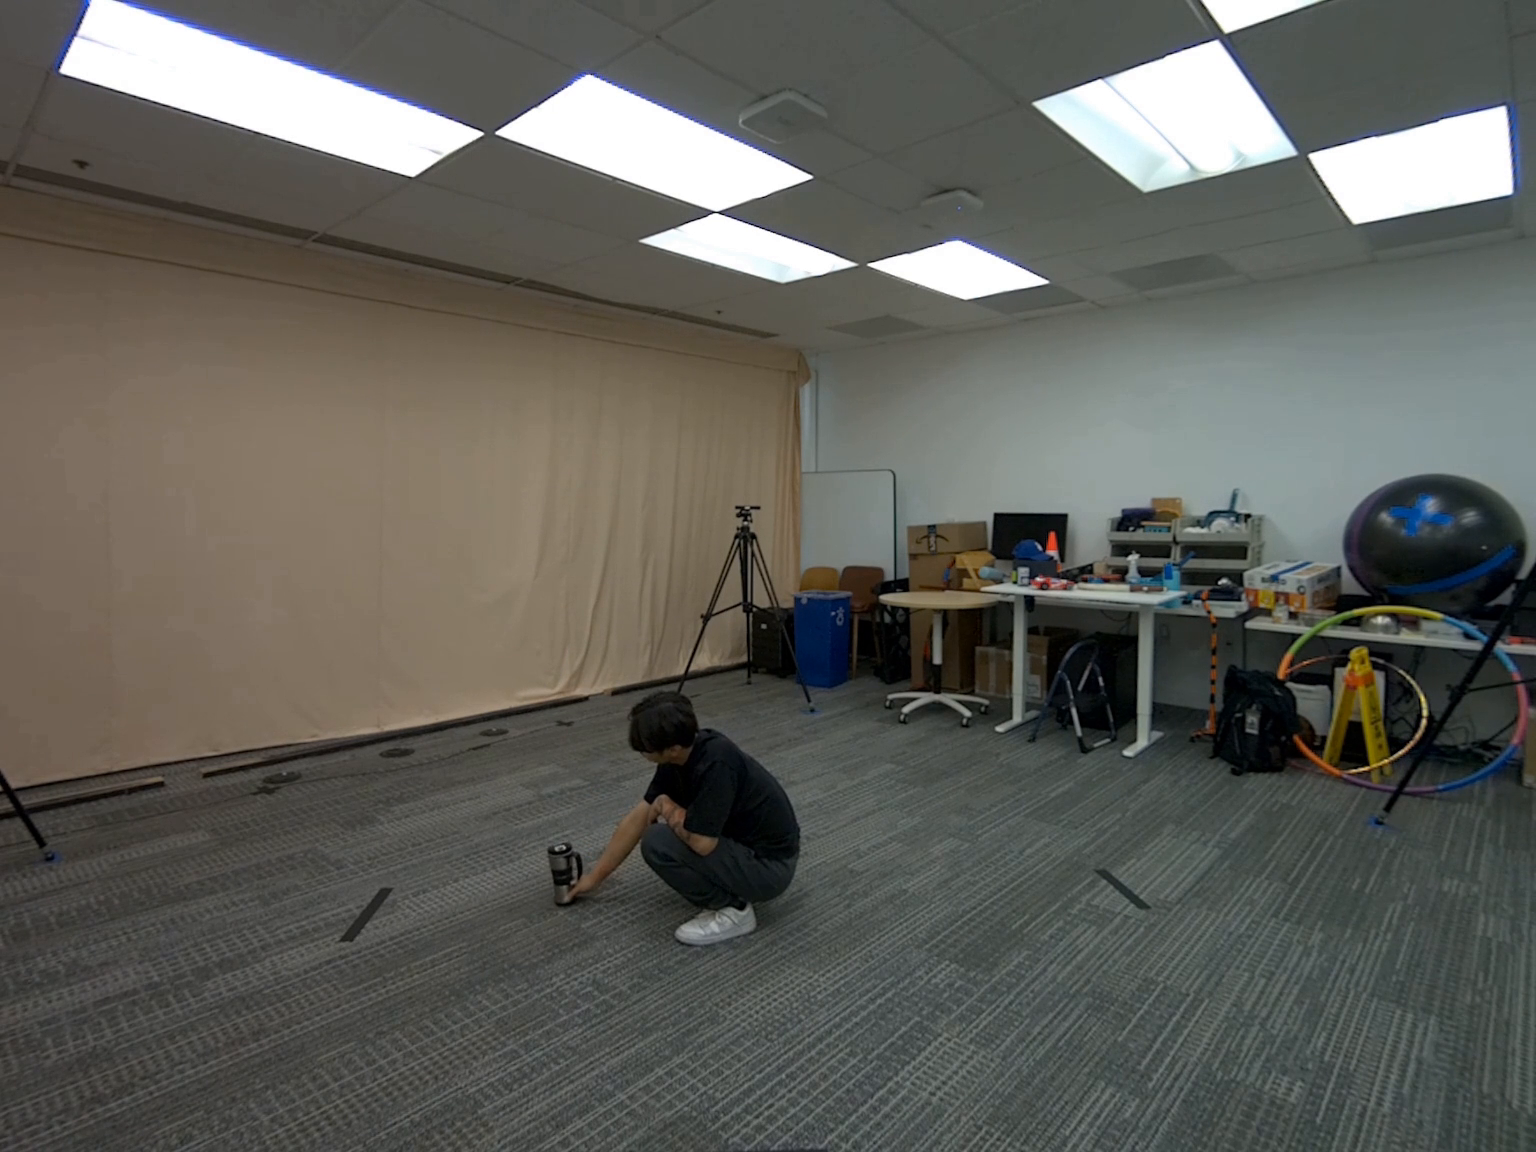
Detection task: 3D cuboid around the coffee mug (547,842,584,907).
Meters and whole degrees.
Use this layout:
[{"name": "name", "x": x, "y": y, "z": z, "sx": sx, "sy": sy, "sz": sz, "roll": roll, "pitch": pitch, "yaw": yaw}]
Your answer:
[{"name": "coffee mug", "x": -0.710, "y": 1.057, "z": 2.947, "sx": 0.125, "sy": 0.203, "sz": 0.085, "roll": -7, "pitch": -3, "yaw": 38}]
